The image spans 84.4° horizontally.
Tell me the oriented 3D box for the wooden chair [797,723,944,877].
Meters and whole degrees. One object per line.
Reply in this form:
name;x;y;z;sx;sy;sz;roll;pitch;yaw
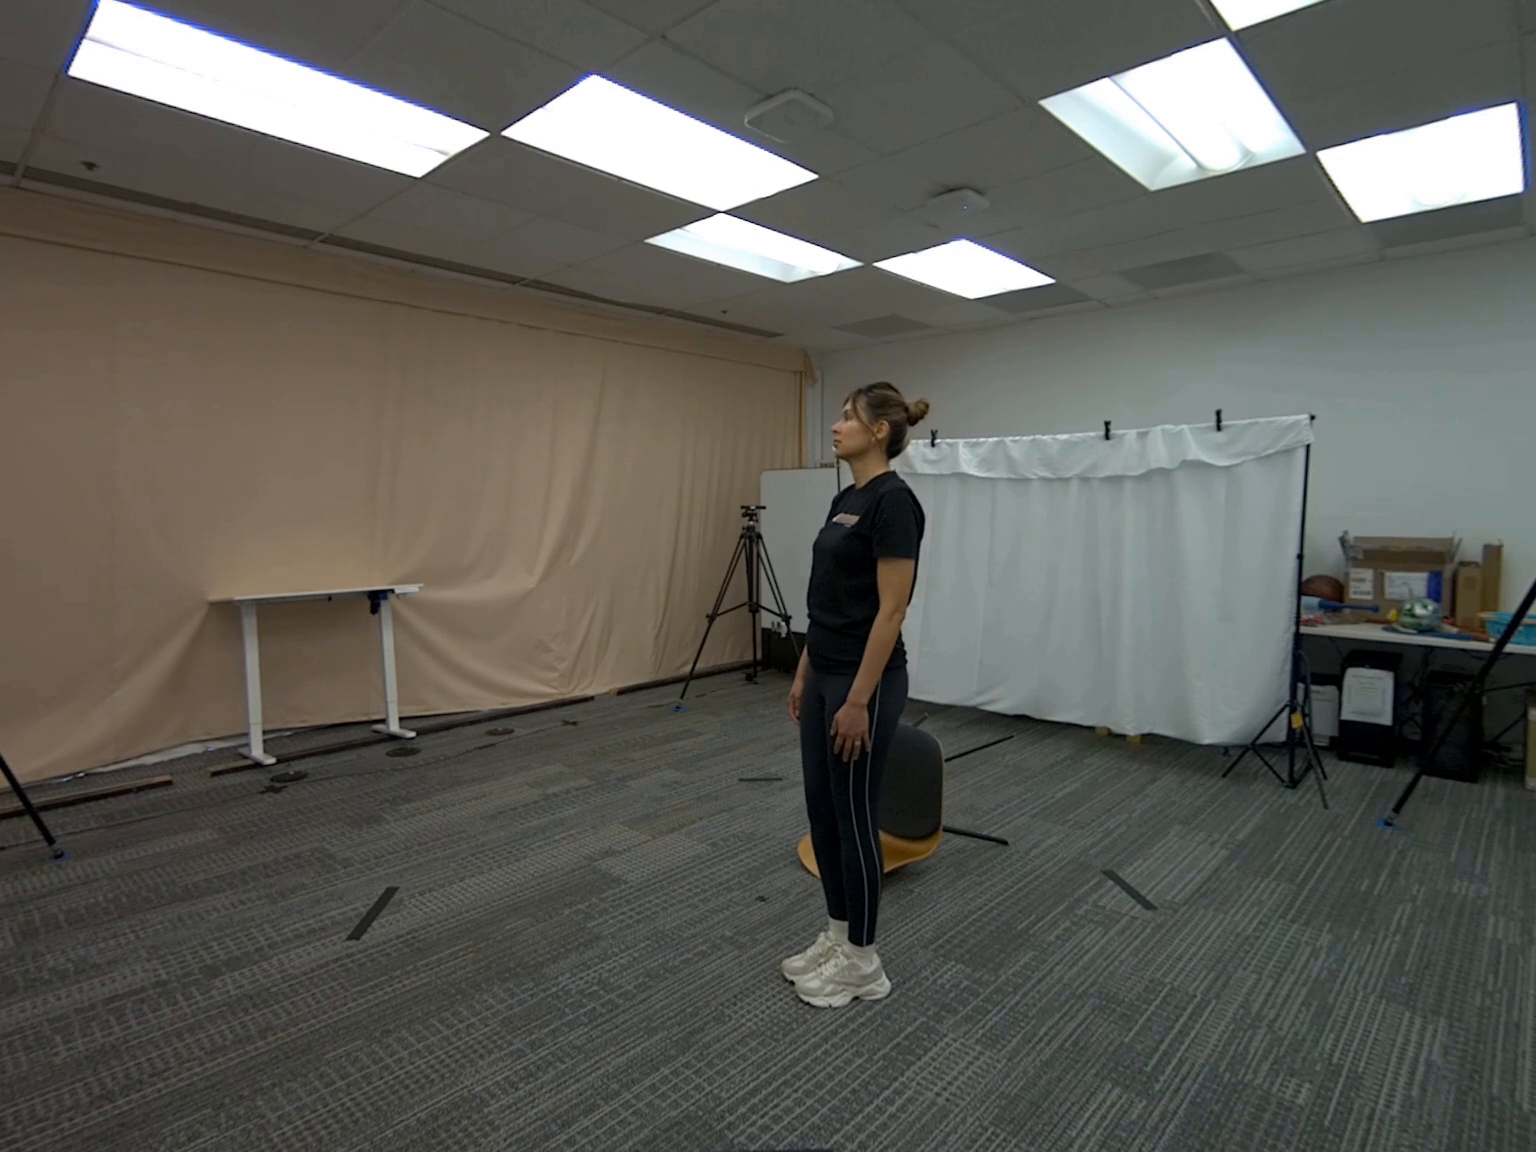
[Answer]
wooden chair;0.524;0.848;3.363;0.851;0.522;0.494;-4;5;-40
